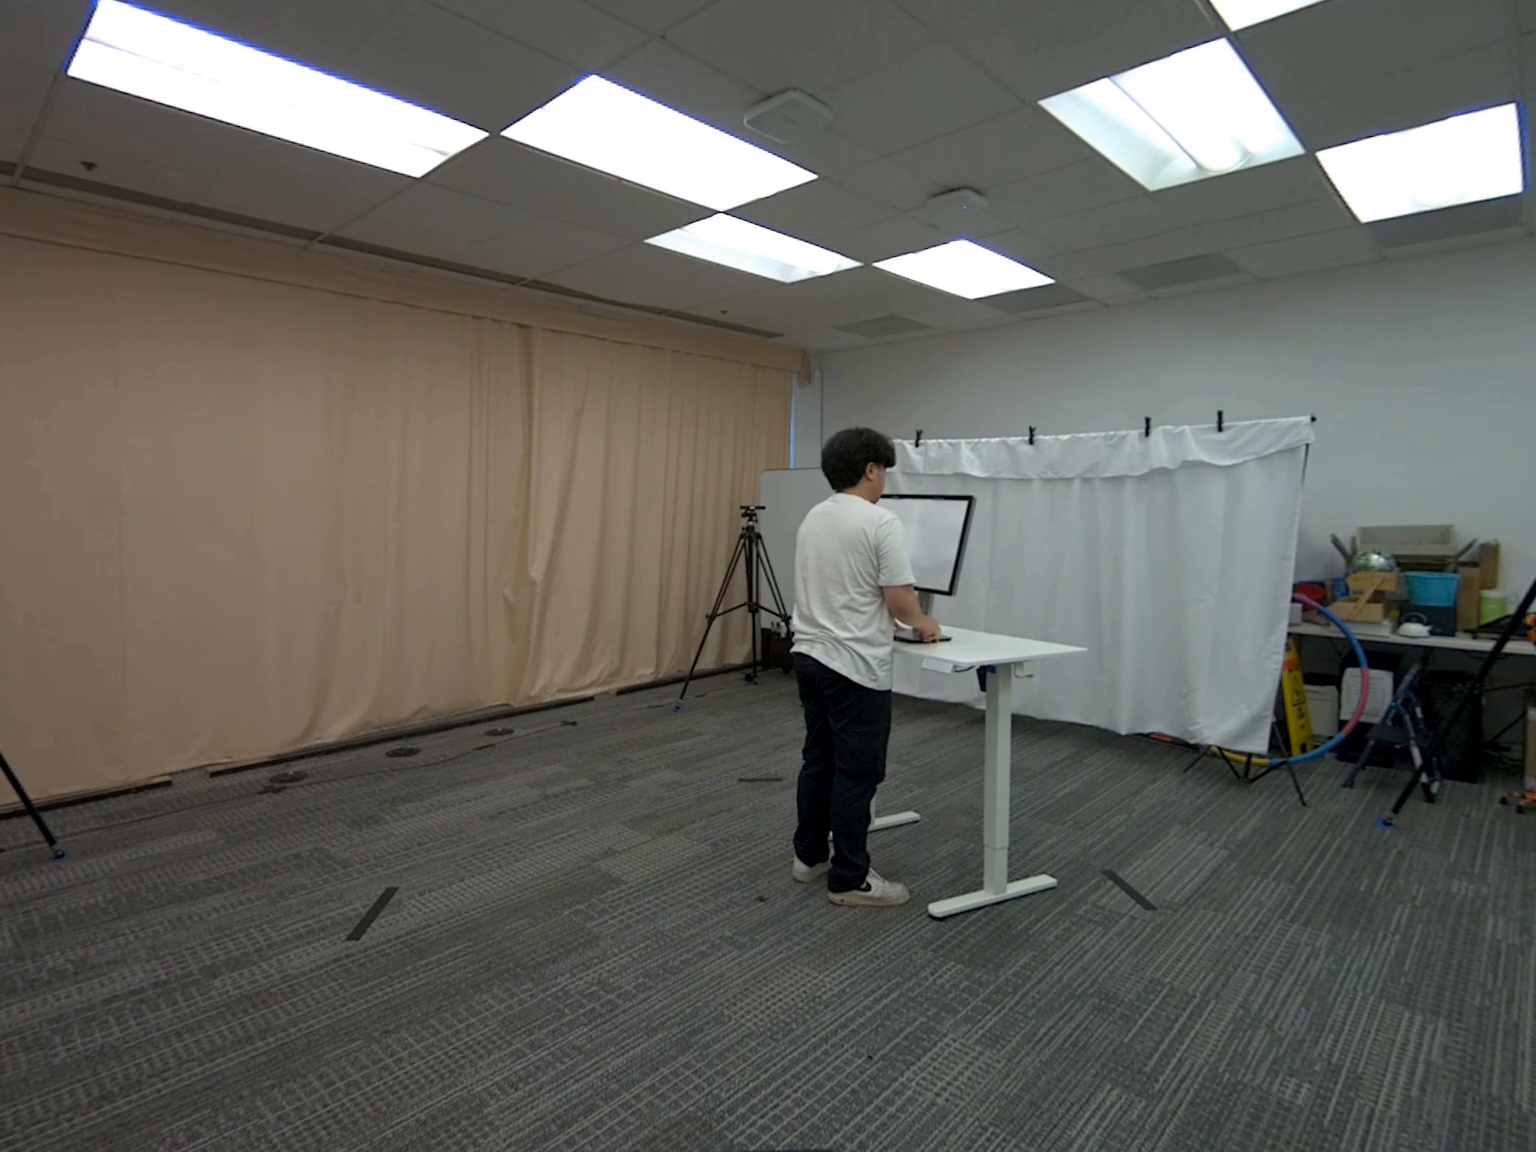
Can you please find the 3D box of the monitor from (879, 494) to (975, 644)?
[{"bbox_3d":[0.591,-0.032,3.214,0.204,0.554,0.582,7,0,-31],"label":"monitor"}]
